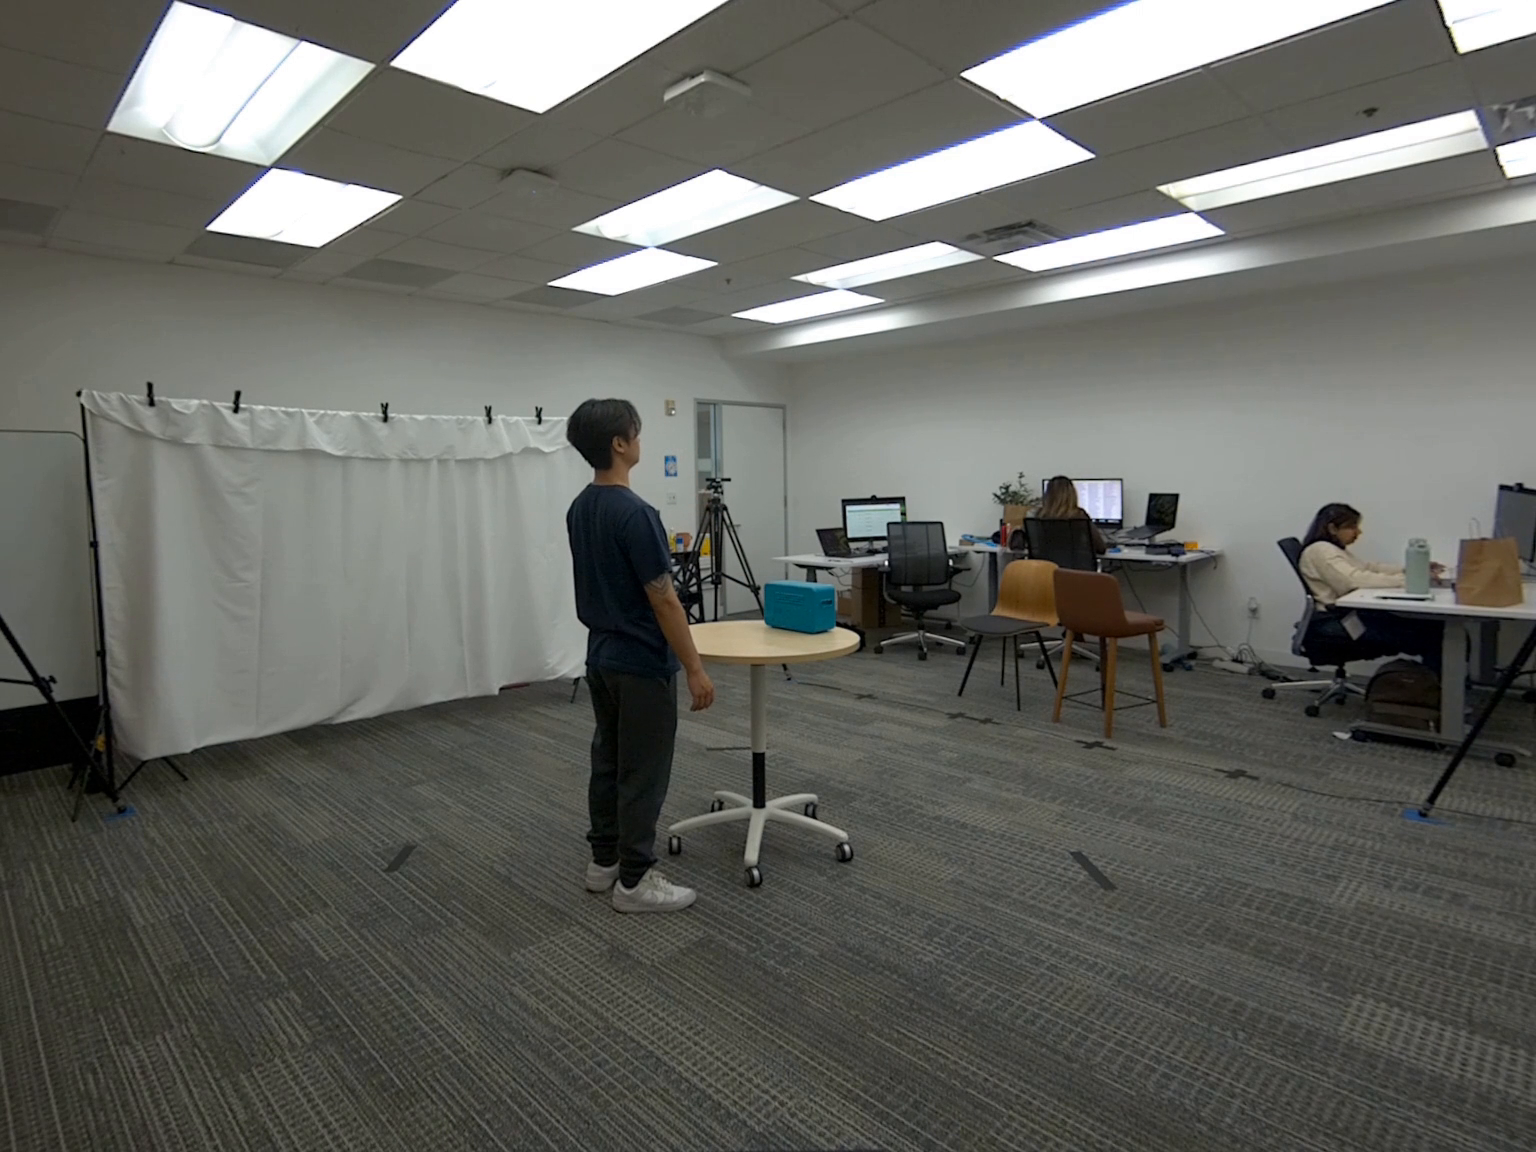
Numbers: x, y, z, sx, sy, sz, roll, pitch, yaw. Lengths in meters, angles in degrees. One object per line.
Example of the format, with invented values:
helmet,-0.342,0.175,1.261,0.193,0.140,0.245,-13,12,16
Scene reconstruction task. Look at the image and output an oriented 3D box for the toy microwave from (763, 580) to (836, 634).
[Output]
toy microwave,0.132,0.119,3.391,0.148,0.183,0.295,-5,7,-42
